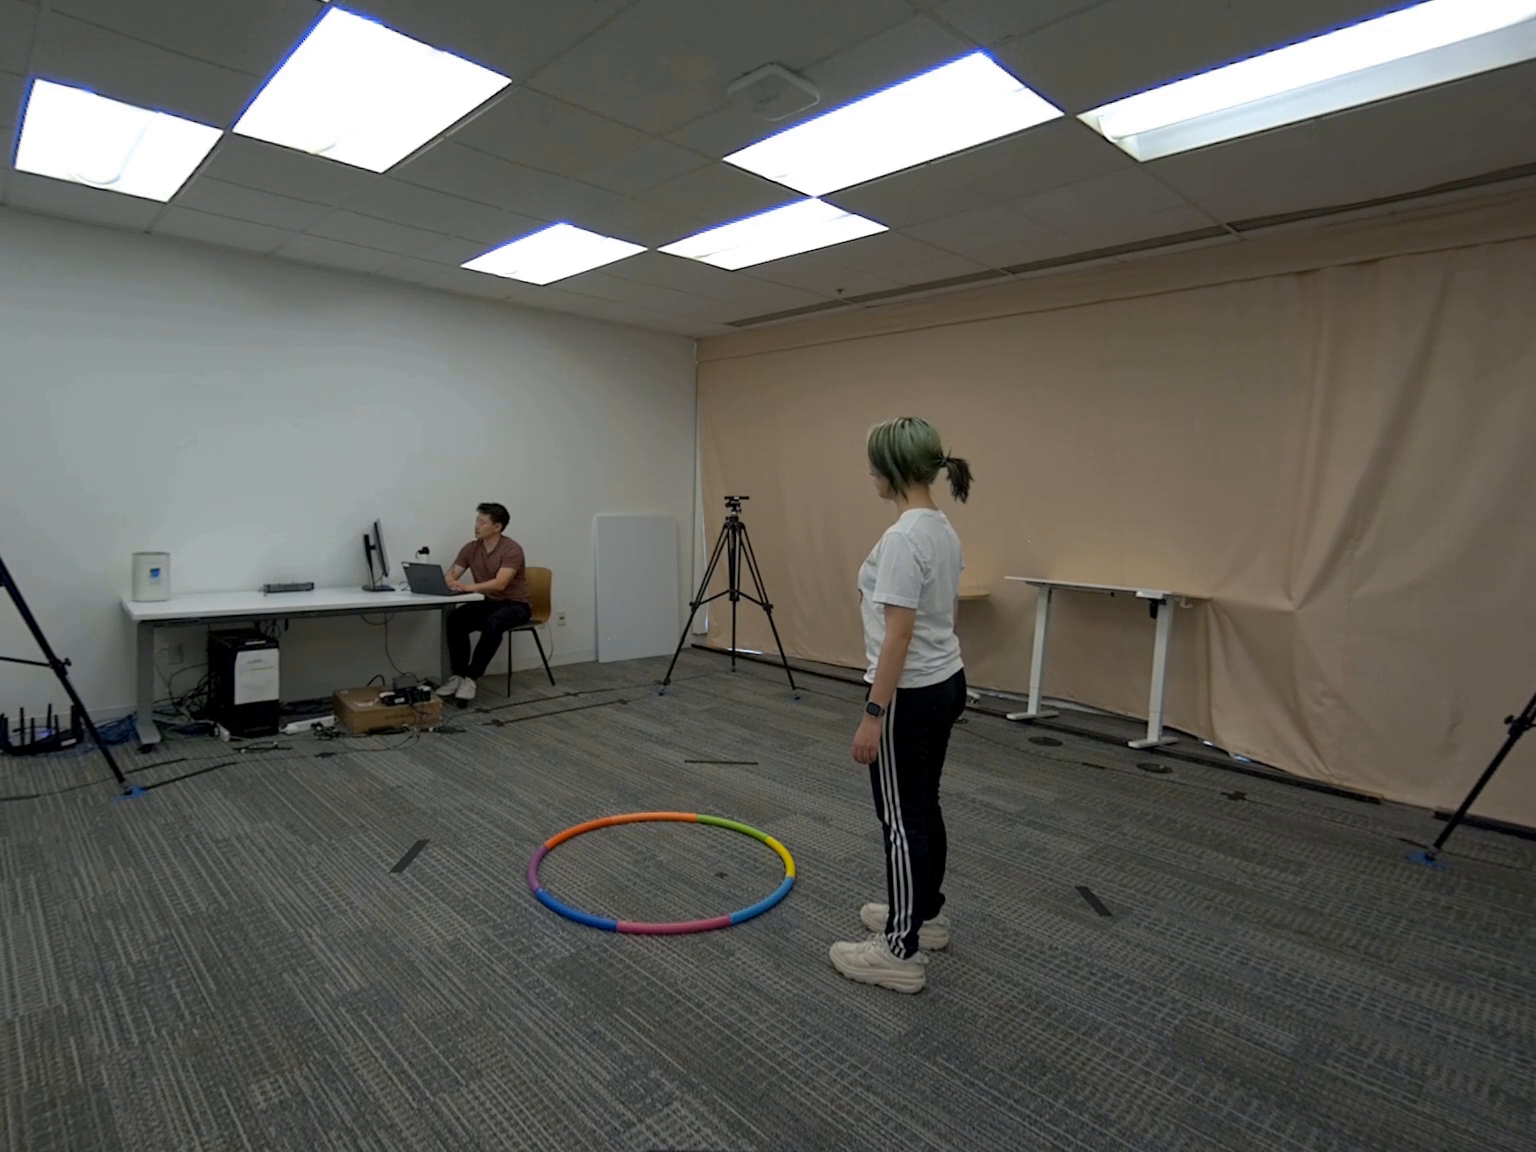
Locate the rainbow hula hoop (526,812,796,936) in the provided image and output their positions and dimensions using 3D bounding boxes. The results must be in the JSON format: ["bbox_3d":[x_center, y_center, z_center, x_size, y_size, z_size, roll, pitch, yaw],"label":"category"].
[{"bbox_3d":[-0.394,1.065,3.148,0.978,0.035,0.982,2,5,-1],"label":"rainbow hula hoop"}]
